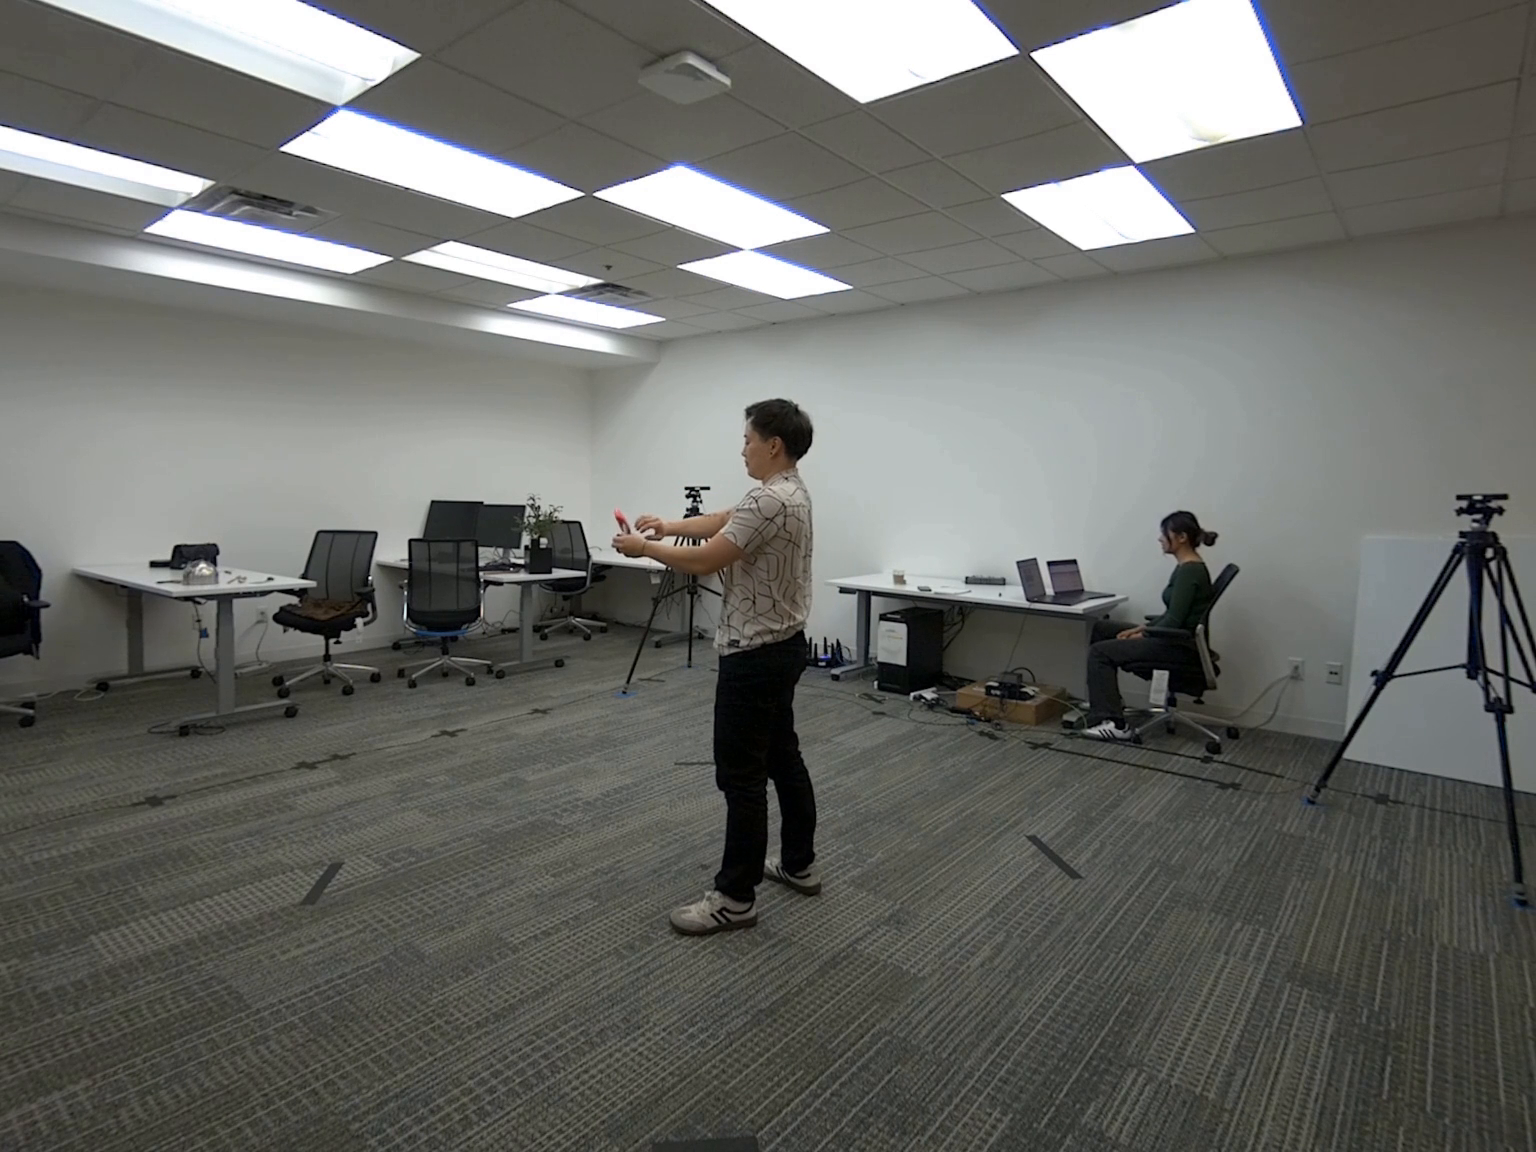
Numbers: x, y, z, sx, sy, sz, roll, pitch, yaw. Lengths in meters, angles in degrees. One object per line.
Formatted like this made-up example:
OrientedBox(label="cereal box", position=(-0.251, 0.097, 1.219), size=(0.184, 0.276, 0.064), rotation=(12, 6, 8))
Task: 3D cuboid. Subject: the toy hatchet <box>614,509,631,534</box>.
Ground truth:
OrientedBox(label="toy hatchet", position=(-0.533, -0.182, 2.987), size=(0.029, 0.130, 0.272), rotation=(-20, 7, -1))
